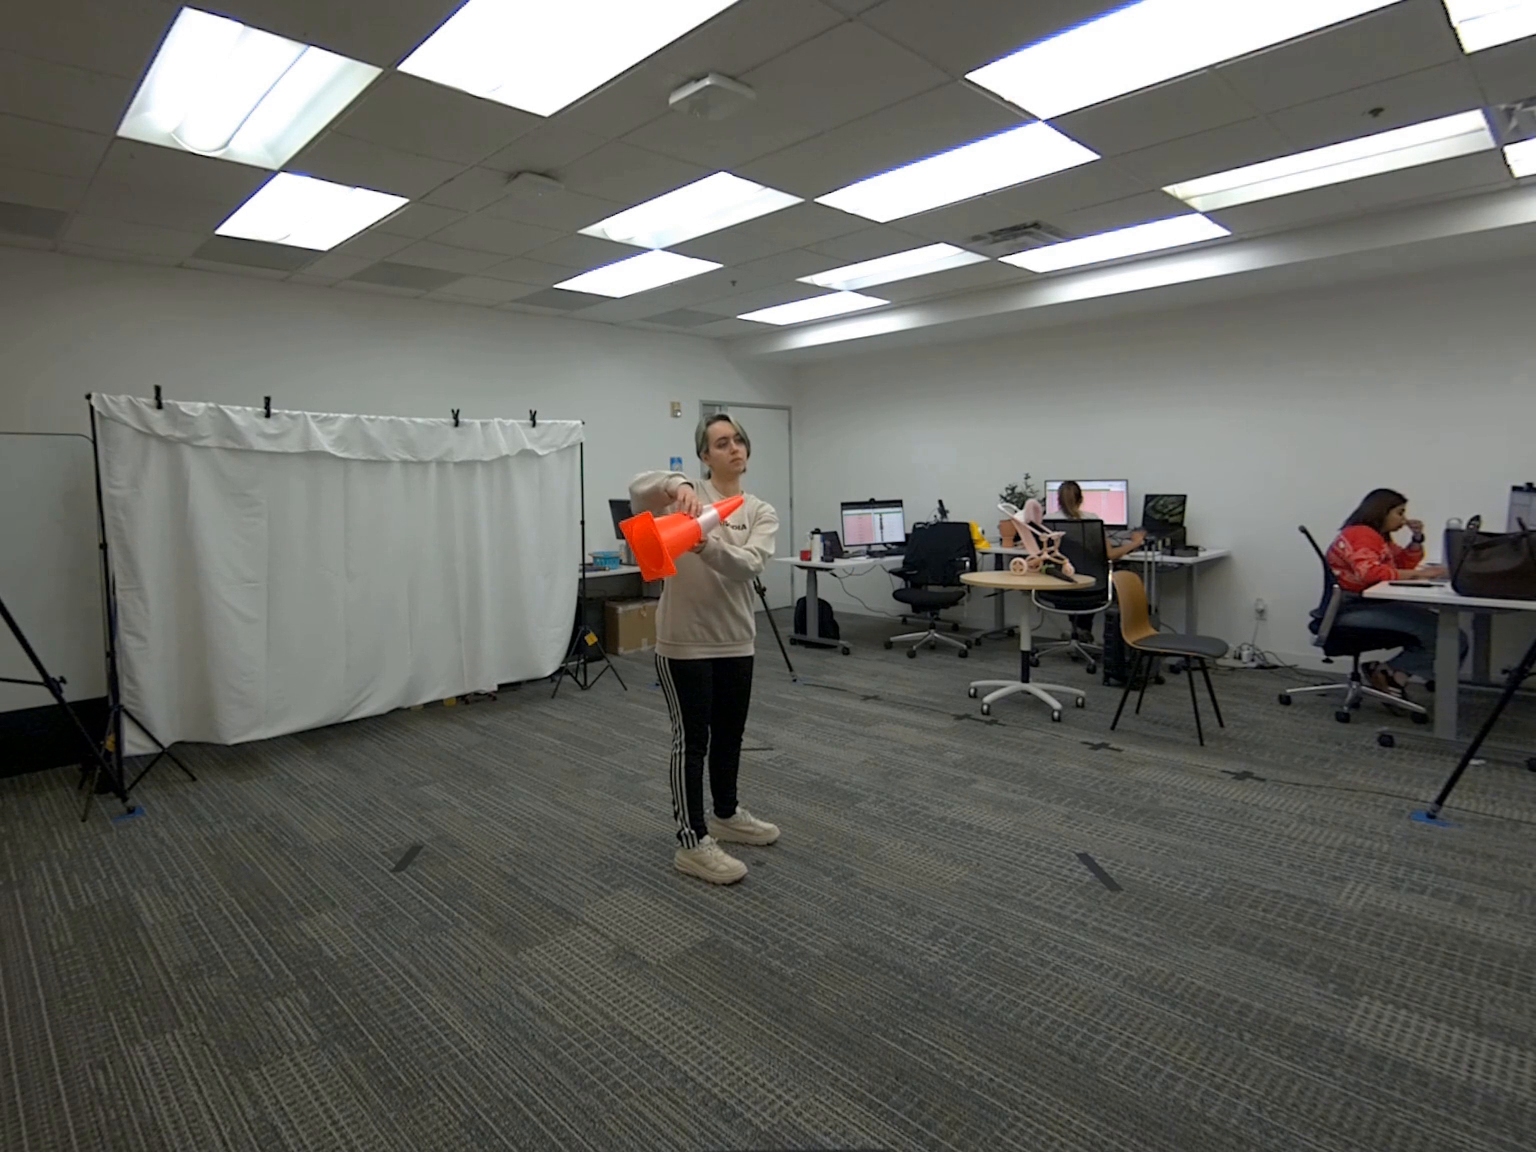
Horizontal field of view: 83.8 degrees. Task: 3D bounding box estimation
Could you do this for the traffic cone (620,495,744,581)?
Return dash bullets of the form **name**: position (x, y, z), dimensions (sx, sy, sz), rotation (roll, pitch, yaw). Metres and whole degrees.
- **traffic cone**: position (-0.229, -0.149, 2.632), dimensions (0.379, 0.203, 0.207), rotation (-31, 10, -34)
